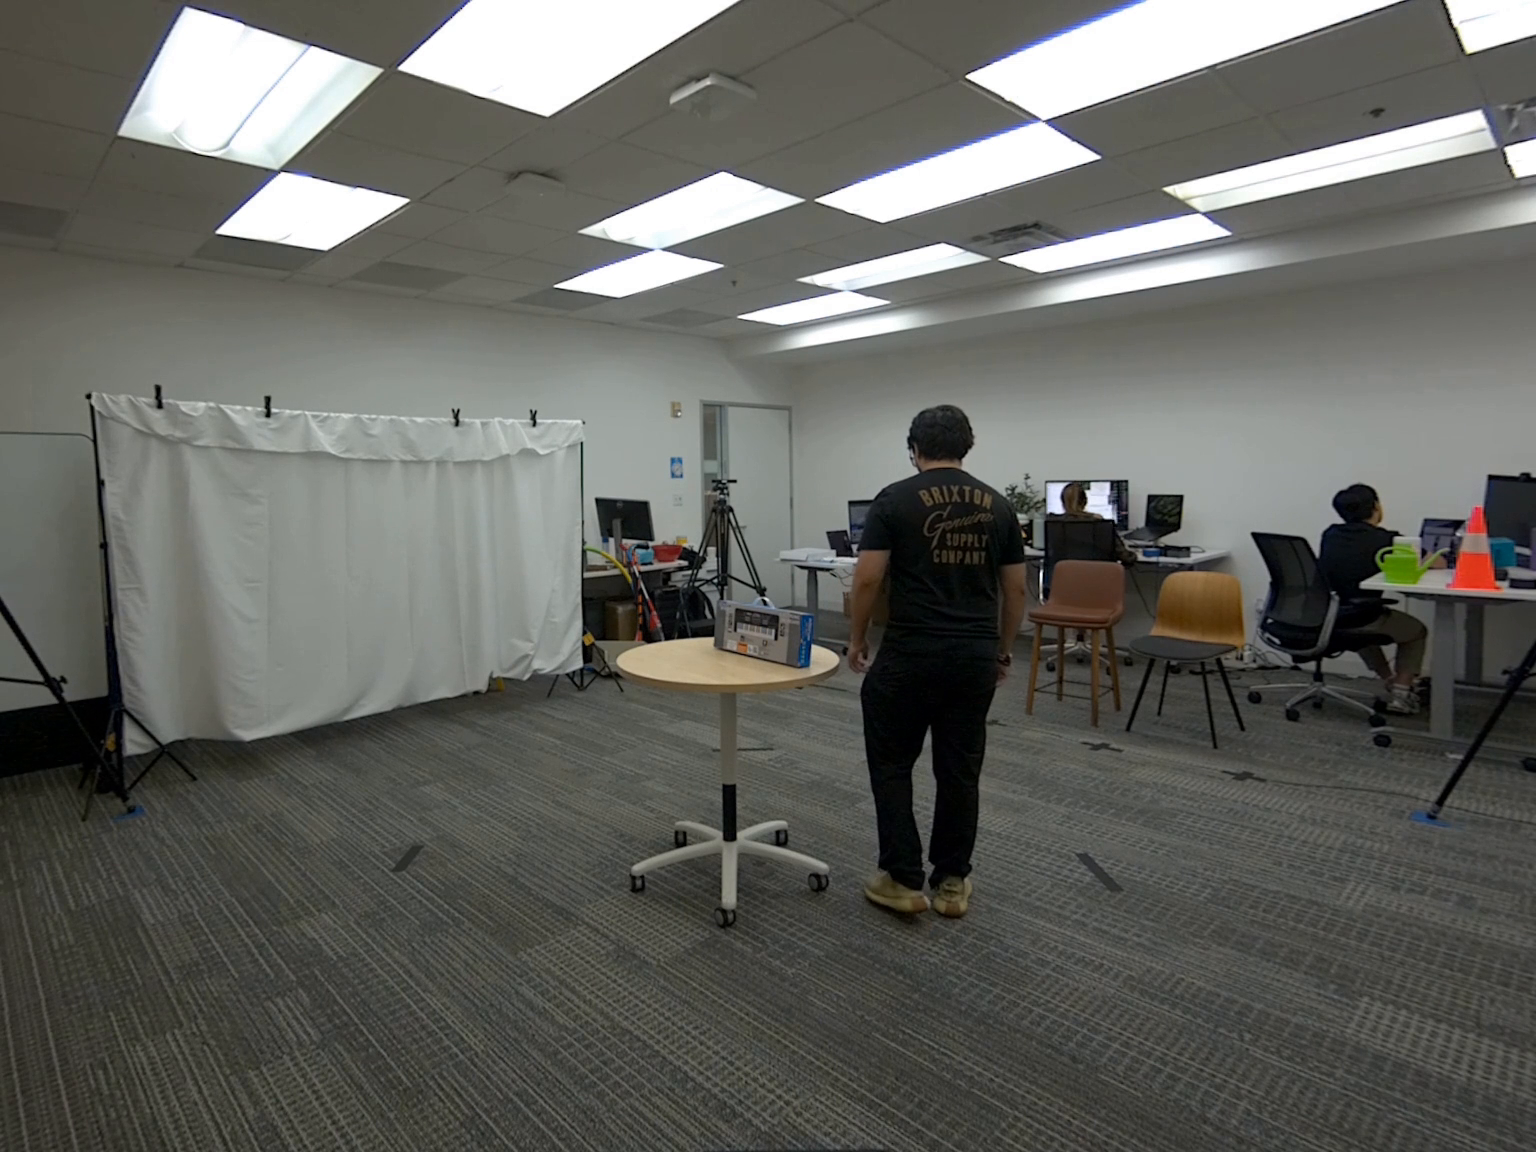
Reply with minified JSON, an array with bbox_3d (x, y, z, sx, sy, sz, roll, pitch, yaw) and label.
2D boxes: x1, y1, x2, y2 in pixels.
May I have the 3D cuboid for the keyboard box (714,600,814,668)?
[{"bbox_3d":[-0.022,0.196,2.950,0.057,0.176,0.451,3,3,-41],"label":"keyboard box"}]
